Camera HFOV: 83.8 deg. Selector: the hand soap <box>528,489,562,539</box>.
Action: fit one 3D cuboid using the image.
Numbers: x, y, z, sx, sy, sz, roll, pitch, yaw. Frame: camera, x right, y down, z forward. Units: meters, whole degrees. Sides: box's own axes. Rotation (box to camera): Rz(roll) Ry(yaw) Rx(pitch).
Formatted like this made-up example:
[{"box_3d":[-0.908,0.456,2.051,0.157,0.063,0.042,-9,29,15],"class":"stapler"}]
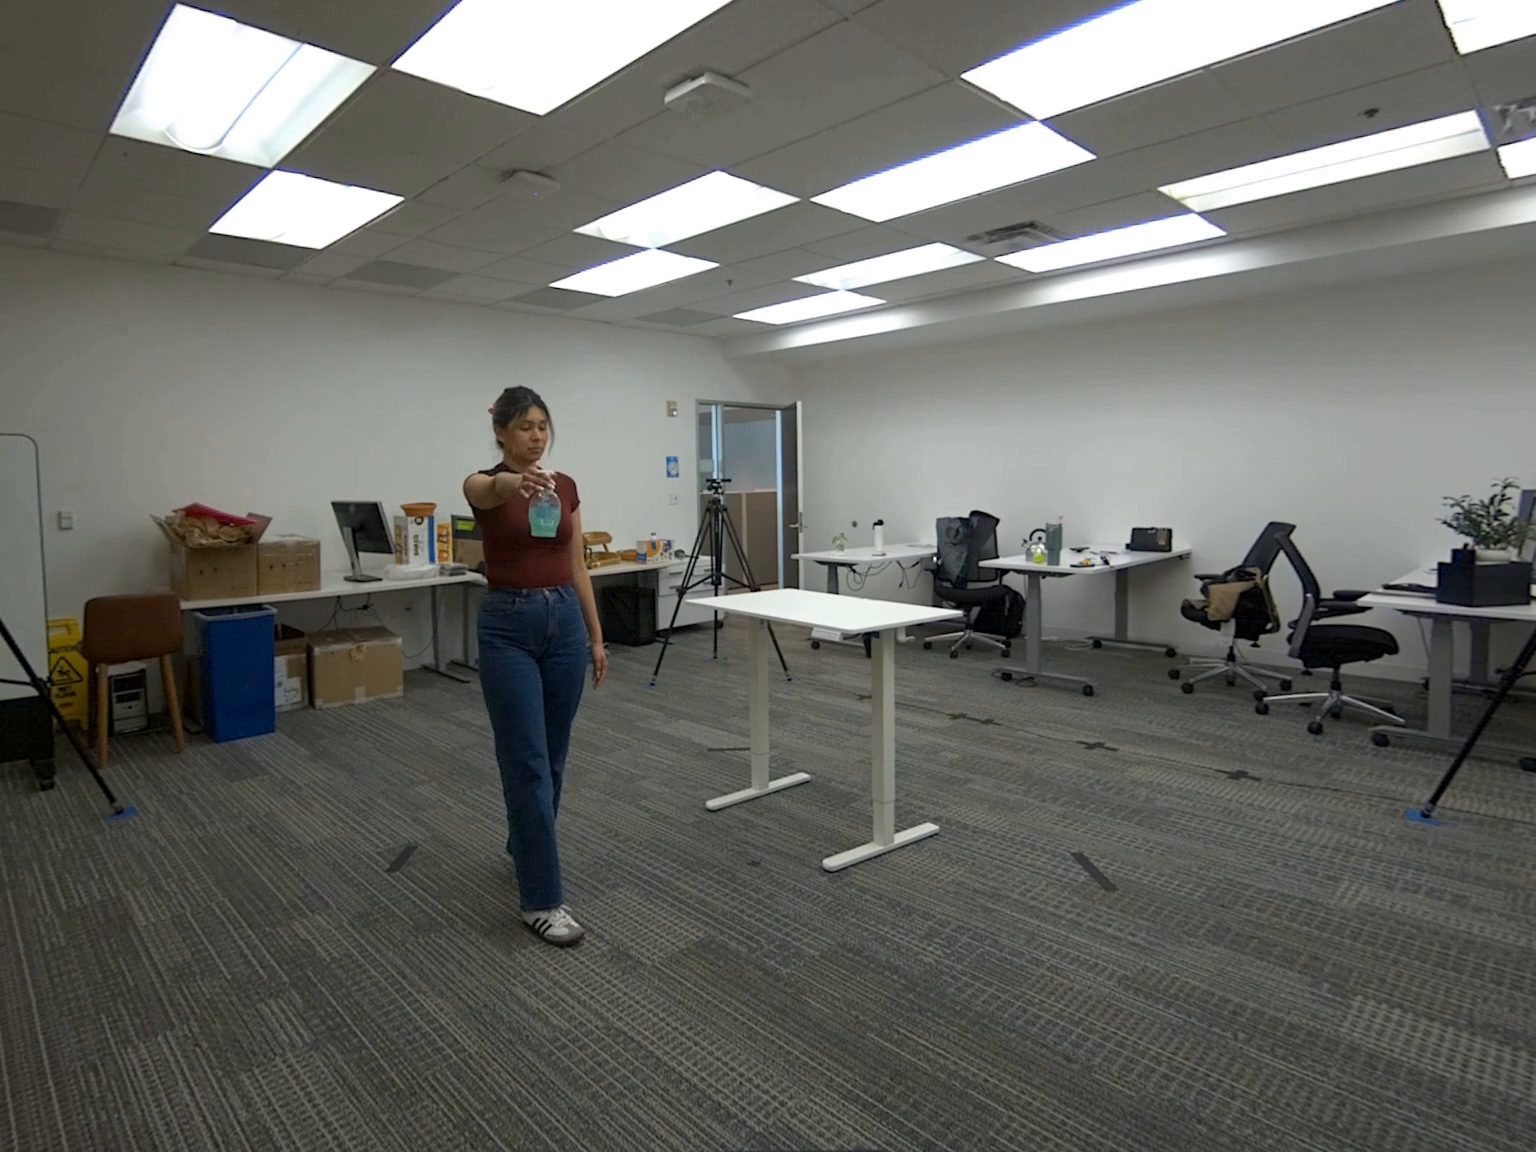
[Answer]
[{"box_3d":[-0.558,-0.184,2.149,0.045,0.168,0.082,5,3,43],"class":"hand soap"}]
